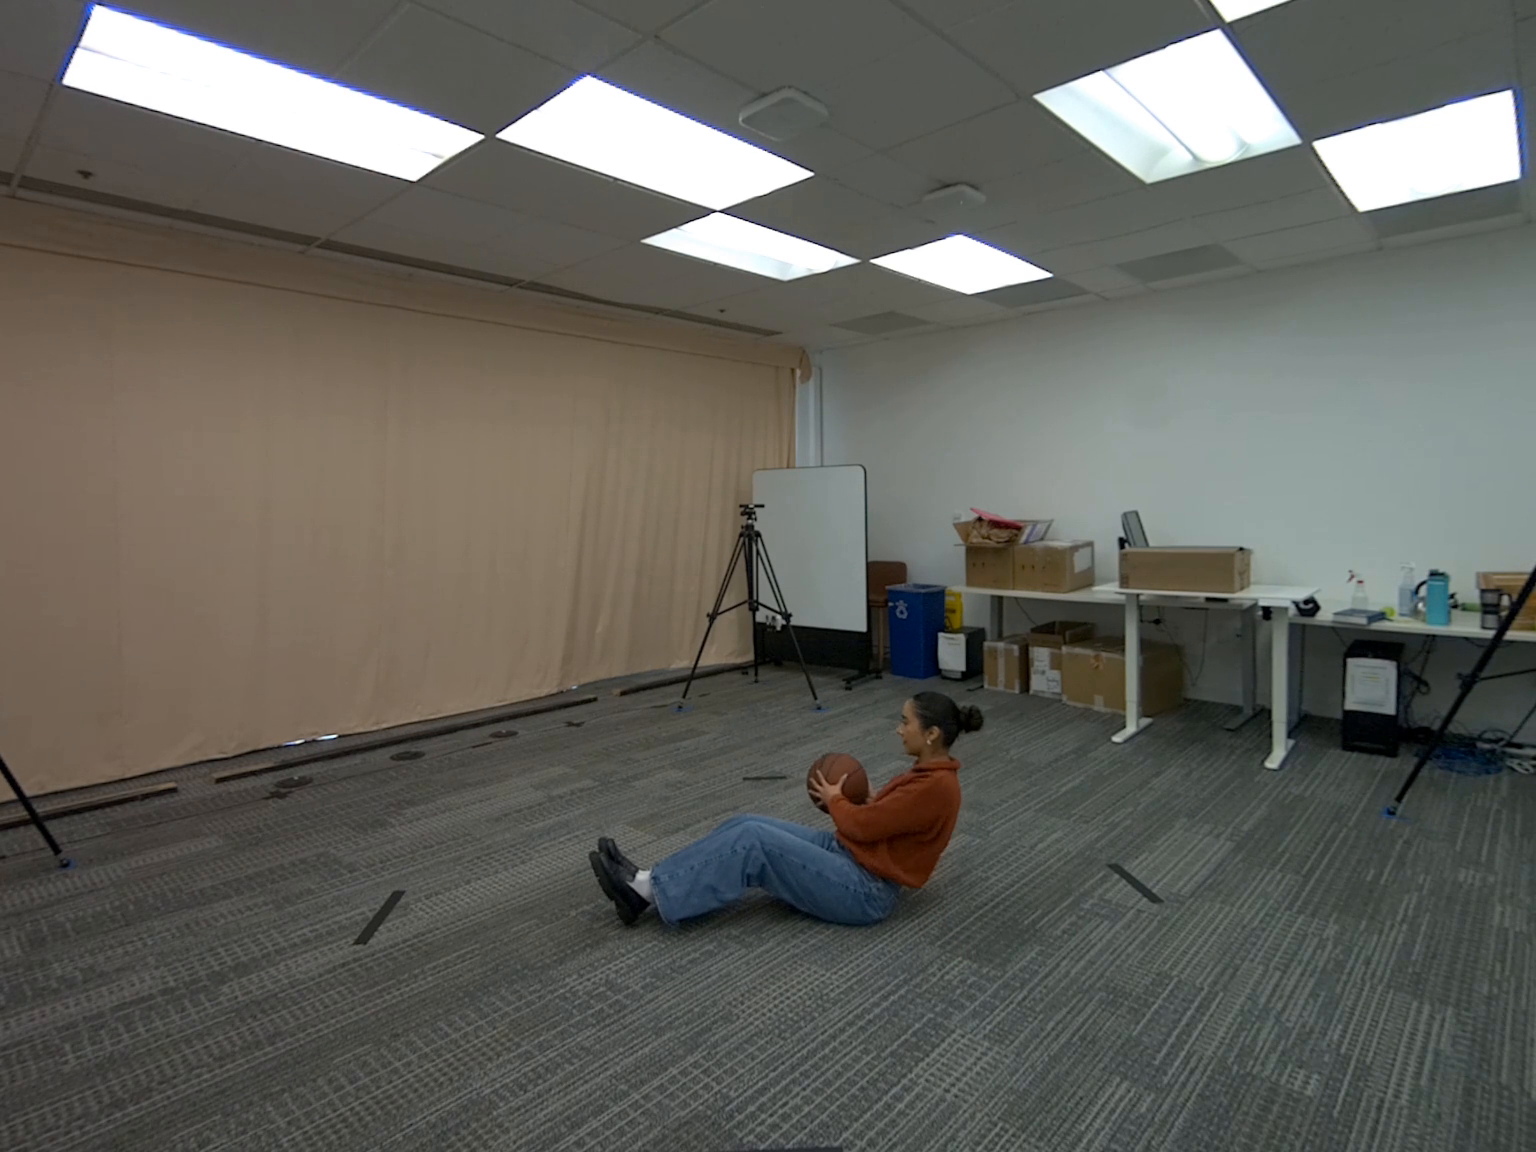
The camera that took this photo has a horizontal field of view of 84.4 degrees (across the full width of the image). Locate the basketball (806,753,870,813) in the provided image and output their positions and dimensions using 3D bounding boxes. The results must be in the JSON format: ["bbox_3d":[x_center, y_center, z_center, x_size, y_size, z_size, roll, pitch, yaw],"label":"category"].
[{"bbox_3d":[0.261,0.817,3.248,0.236,0.235,0.237,-1,4,-2],"label":"basketball"}]
